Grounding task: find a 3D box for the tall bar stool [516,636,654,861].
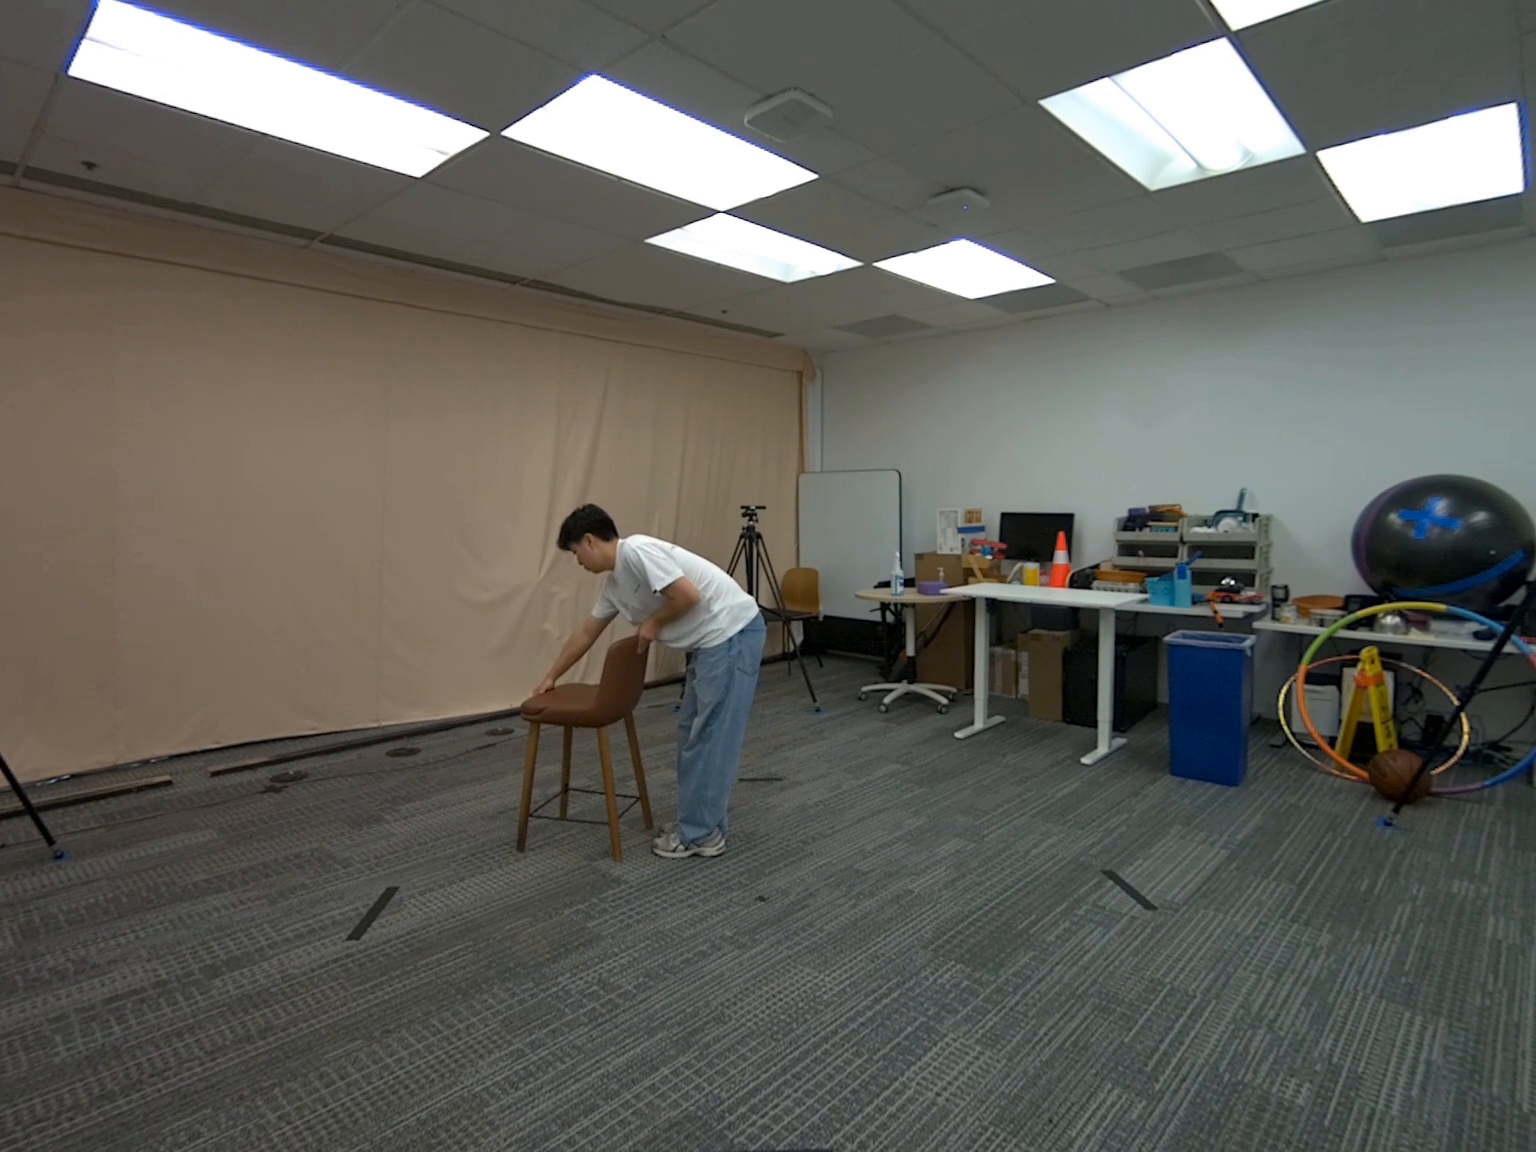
[{"bbox_3d":[-0.756,0.666,3.521,0.476,0.888,0.449,3,4,17],"label":"tall bar stool"}]
